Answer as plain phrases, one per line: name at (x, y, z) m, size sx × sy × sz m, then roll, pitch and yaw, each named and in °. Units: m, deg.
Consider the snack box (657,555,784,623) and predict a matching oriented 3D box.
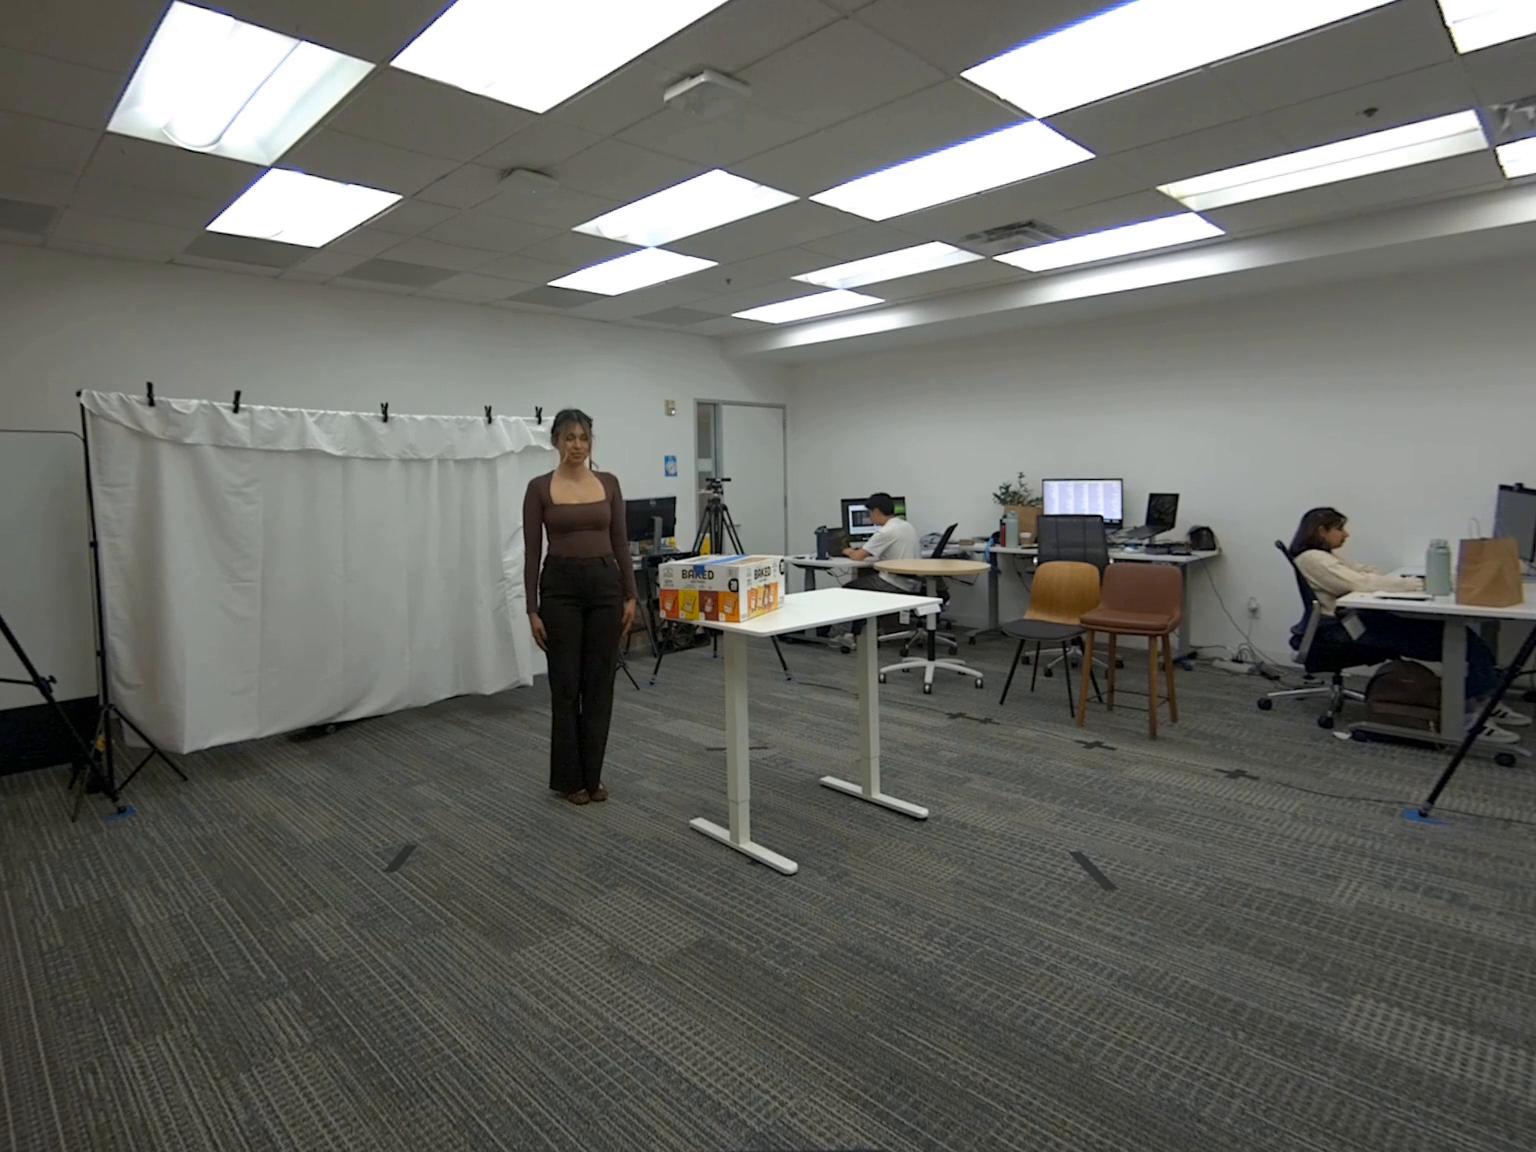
snack box at (-0.171, 0.039, 3.304) m, size 0.348 × 0.205 × 0.397 m, roll 2°, pitch 7°, yaw 26°
